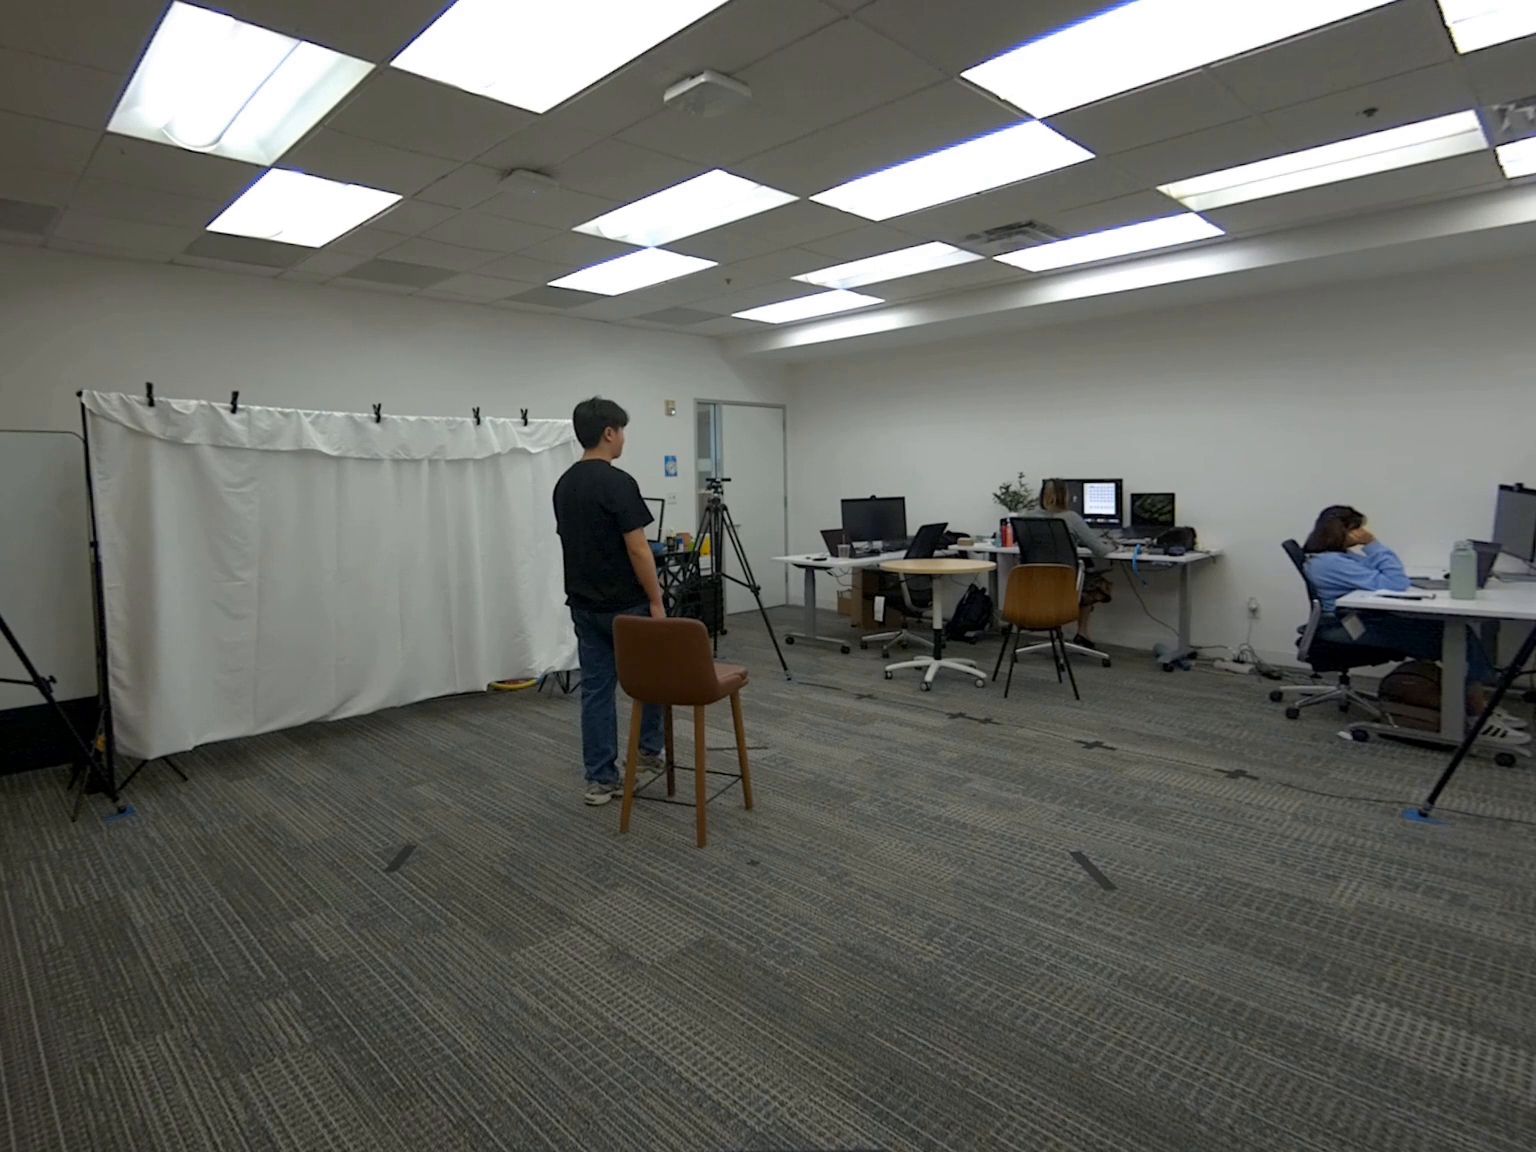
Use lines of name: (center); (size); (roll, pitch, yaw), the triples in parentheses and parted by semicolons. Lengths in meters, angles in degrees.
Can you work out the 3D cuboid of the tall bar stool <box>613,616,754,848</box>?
tall bar stool: (-0.342, 0.568, 3.484); (0.467, 0.885, 0.459); (1, 6, 25)
